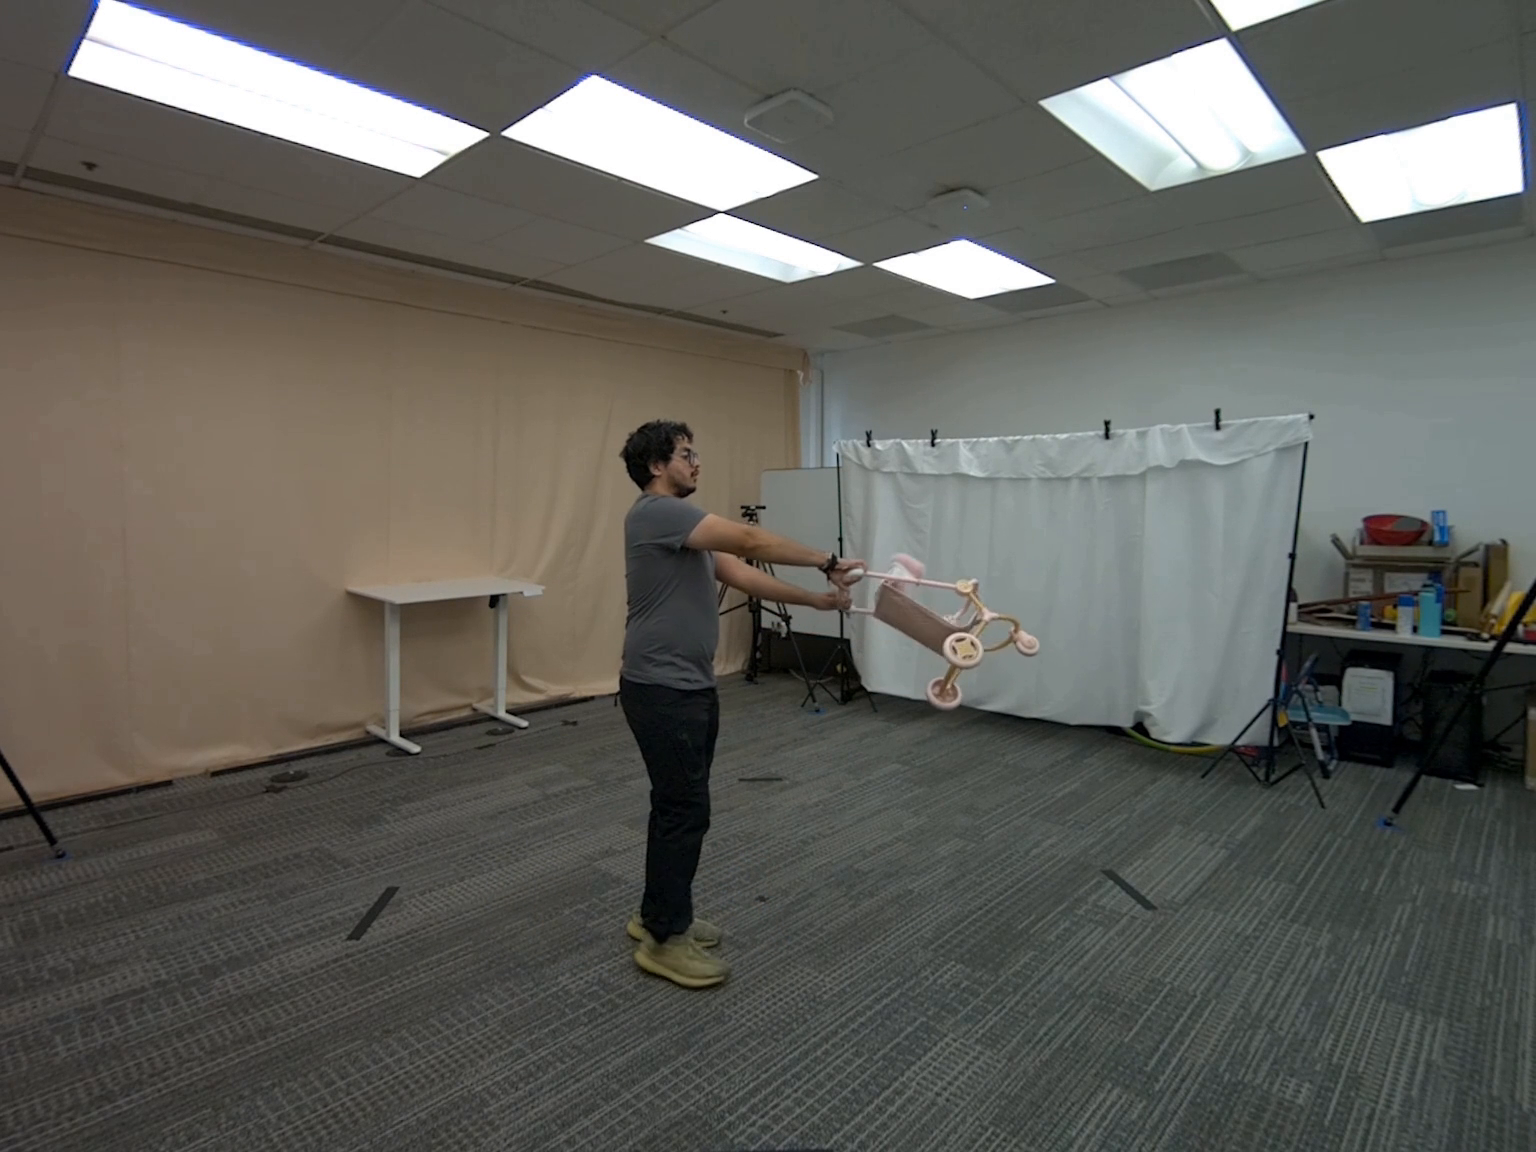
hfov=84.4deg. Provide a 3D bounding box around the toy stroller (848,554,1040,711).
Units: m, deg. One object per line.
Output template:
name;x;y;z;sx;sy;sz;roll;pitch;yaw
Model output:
toy stroller;0.522;0.137;2.539;0.338;0.276;0.551;-35;61;-21
